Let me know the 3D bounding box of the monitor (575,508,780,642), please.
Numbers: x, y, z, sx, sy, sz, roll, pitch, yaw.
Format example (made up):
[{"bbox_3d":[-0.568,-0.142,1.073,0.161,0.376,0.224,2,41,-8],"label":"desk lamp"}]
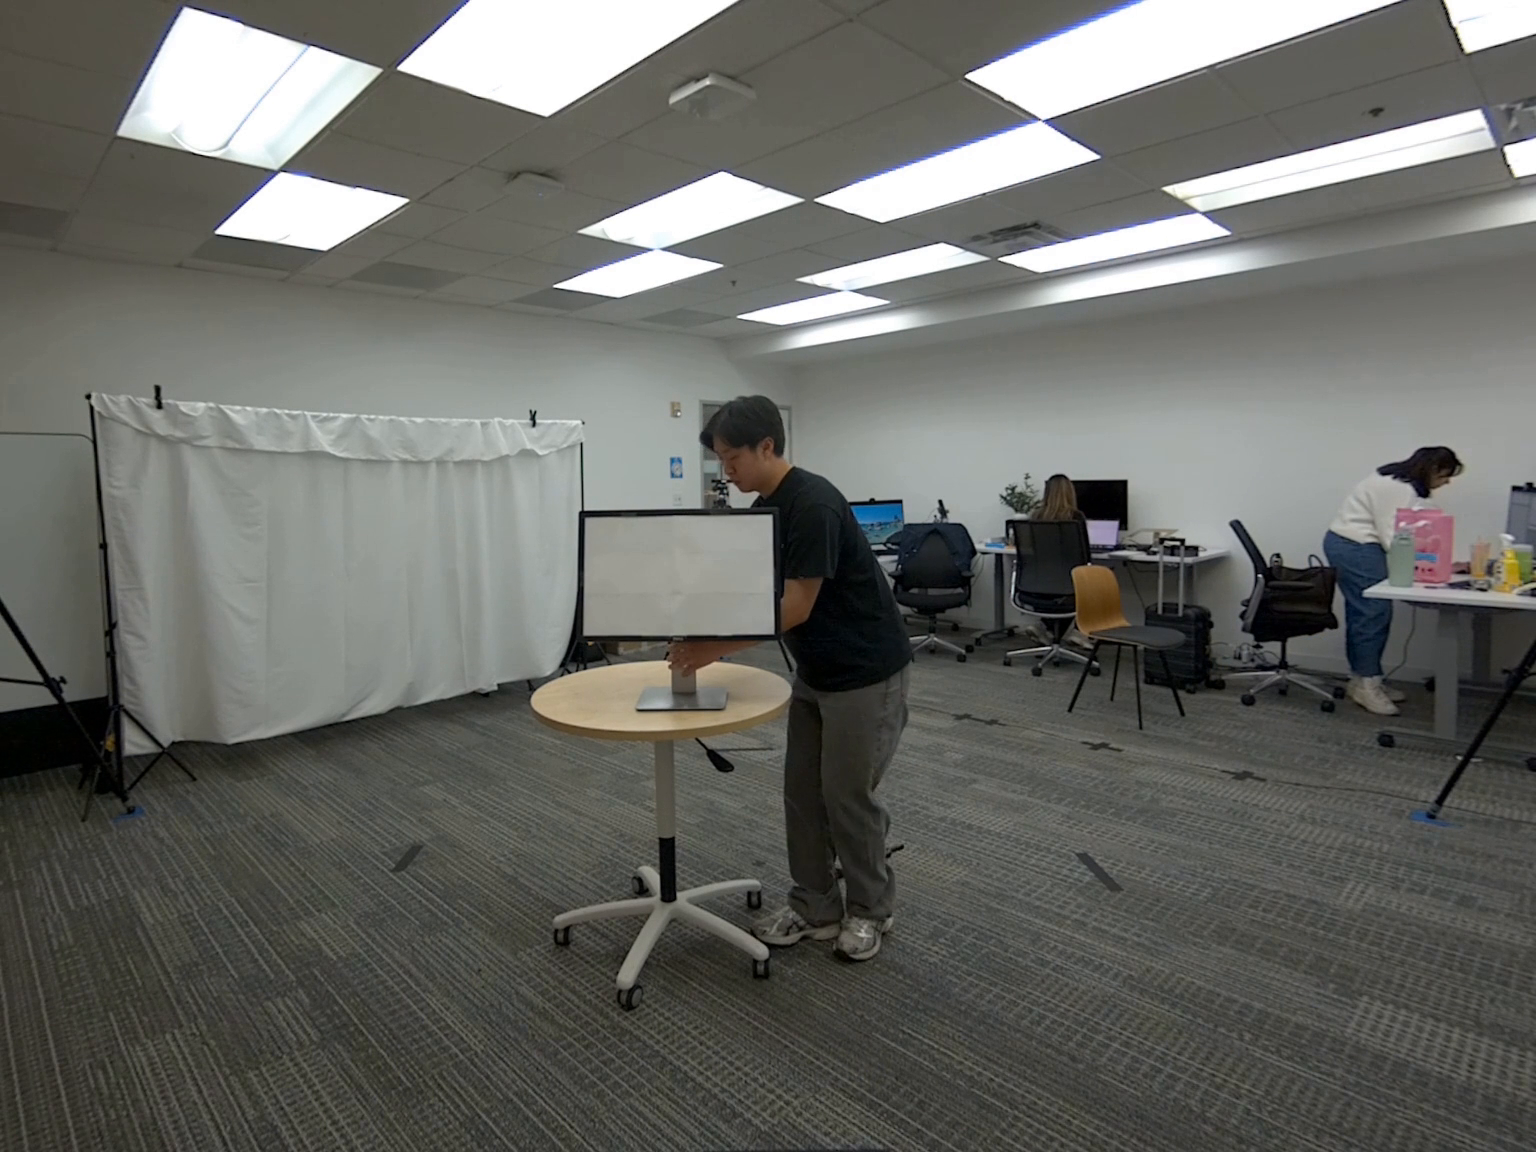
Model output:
[{"bbox_3d":[-0.239,0.092,2.385,0.564,0.563,0.222,-1,6,4],"label":"monitor"}]
